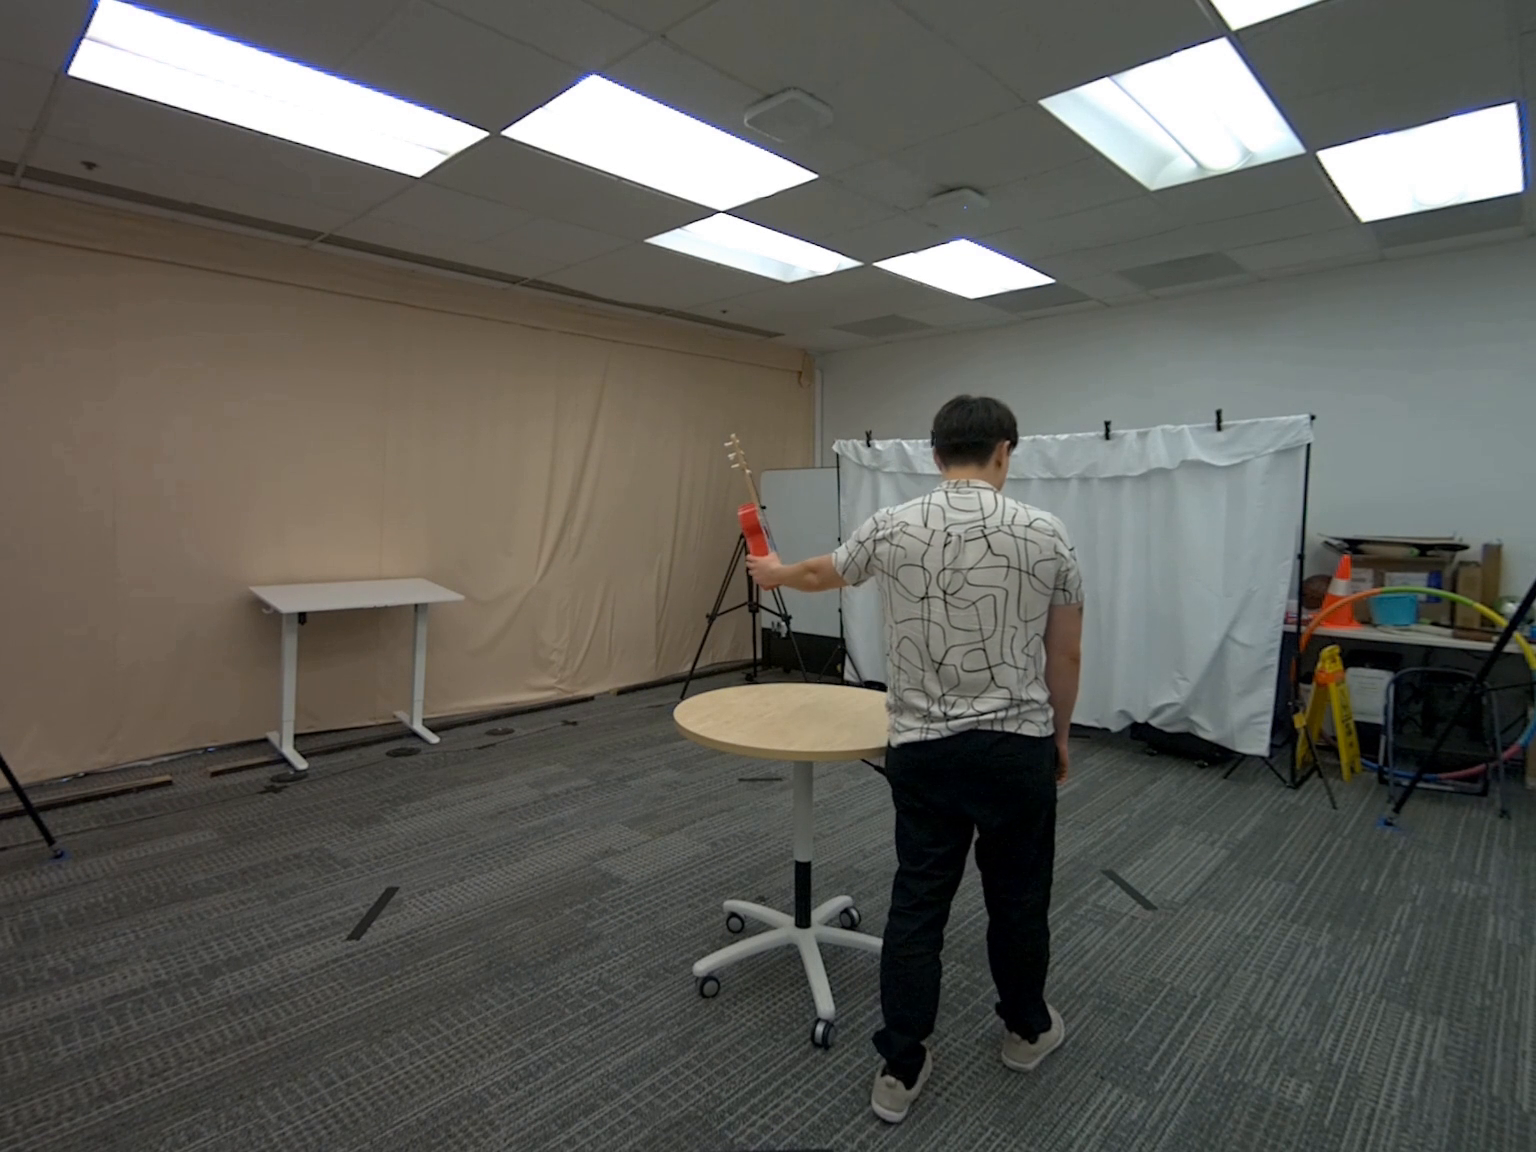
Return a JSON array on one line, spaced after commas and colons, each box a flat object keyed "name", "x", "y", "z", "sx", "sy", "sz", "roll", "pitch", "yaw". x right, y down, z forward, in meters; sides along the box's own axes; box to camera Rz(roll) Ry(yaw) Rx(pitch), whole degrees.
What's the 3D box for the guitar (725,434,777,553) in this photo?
[{"name": "guitar", "x": -0.034, "y": -0.196, "z": 2.670, "sx": 0.071, "sy": 0.503, "sz": 0.189, "roll": -18, "pitch": -12, "yaw": 8}]
